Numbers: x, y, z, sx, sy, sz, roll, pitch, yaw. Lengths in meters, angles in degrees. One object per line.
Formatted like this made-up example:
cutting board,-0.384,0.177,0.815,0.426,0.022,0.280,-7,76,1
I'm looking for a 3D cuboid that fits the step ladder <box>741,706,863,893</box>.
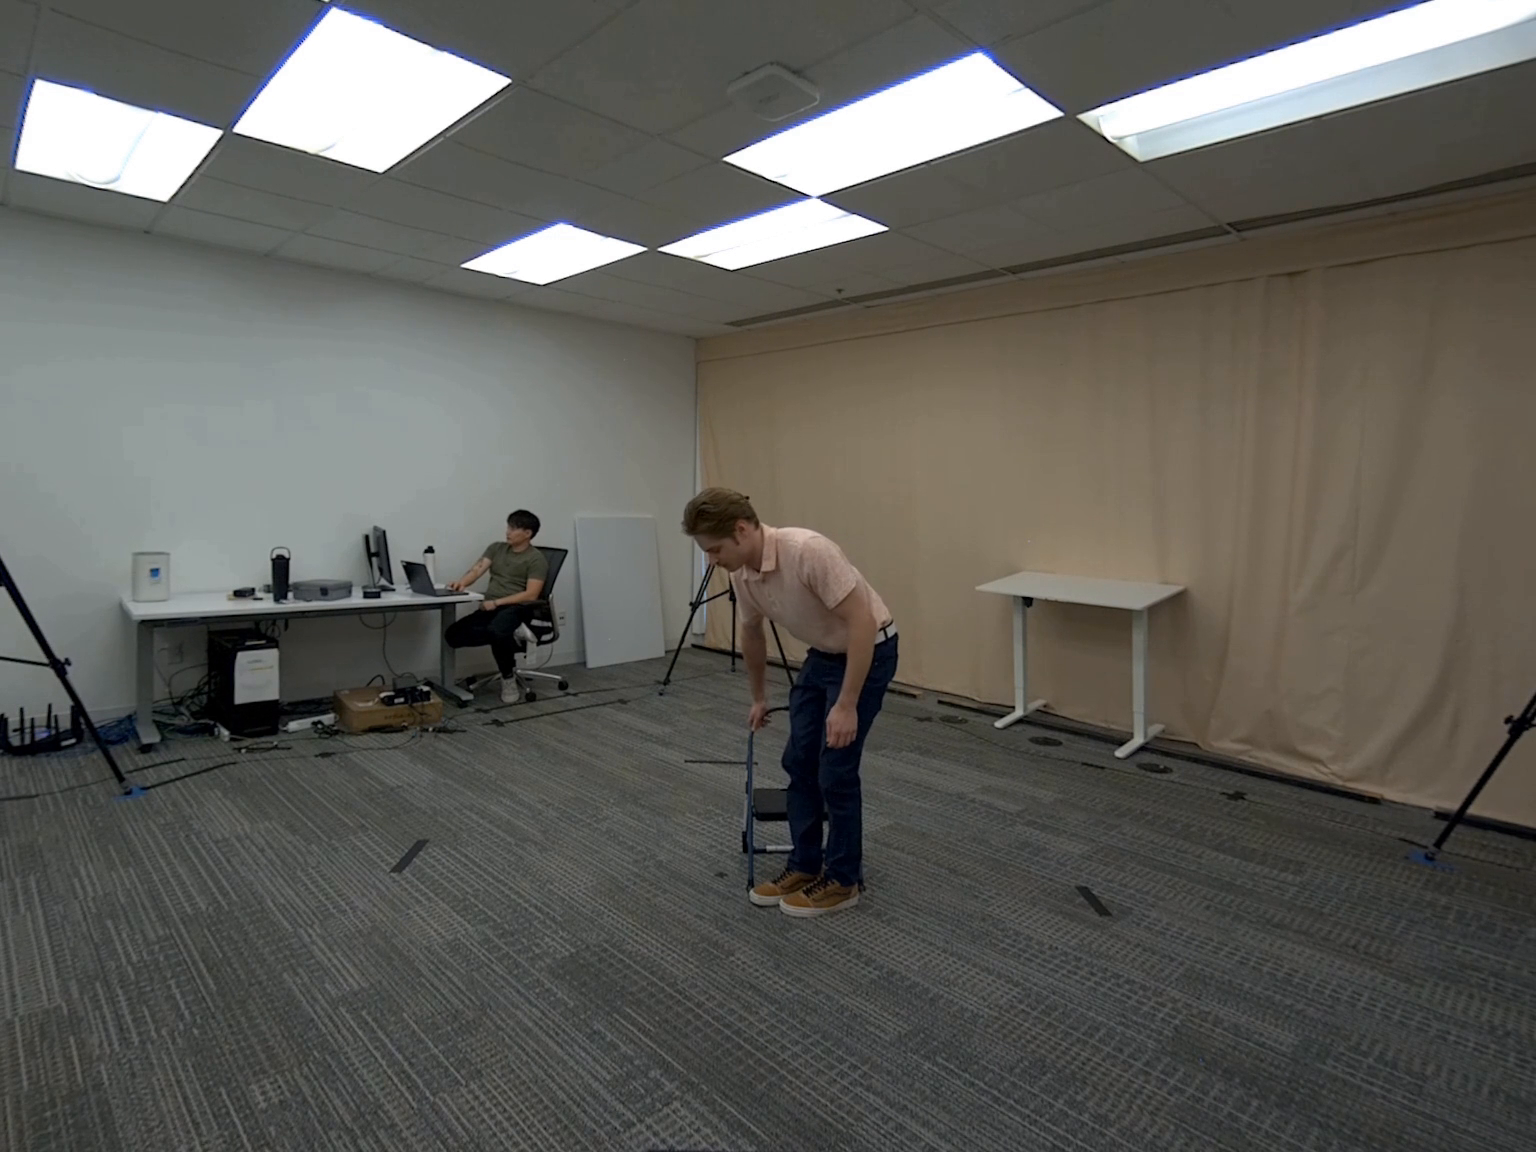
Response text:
step ladder,0.125,0.808,3.146,0.429,0.604,0.352,2,5,-5
